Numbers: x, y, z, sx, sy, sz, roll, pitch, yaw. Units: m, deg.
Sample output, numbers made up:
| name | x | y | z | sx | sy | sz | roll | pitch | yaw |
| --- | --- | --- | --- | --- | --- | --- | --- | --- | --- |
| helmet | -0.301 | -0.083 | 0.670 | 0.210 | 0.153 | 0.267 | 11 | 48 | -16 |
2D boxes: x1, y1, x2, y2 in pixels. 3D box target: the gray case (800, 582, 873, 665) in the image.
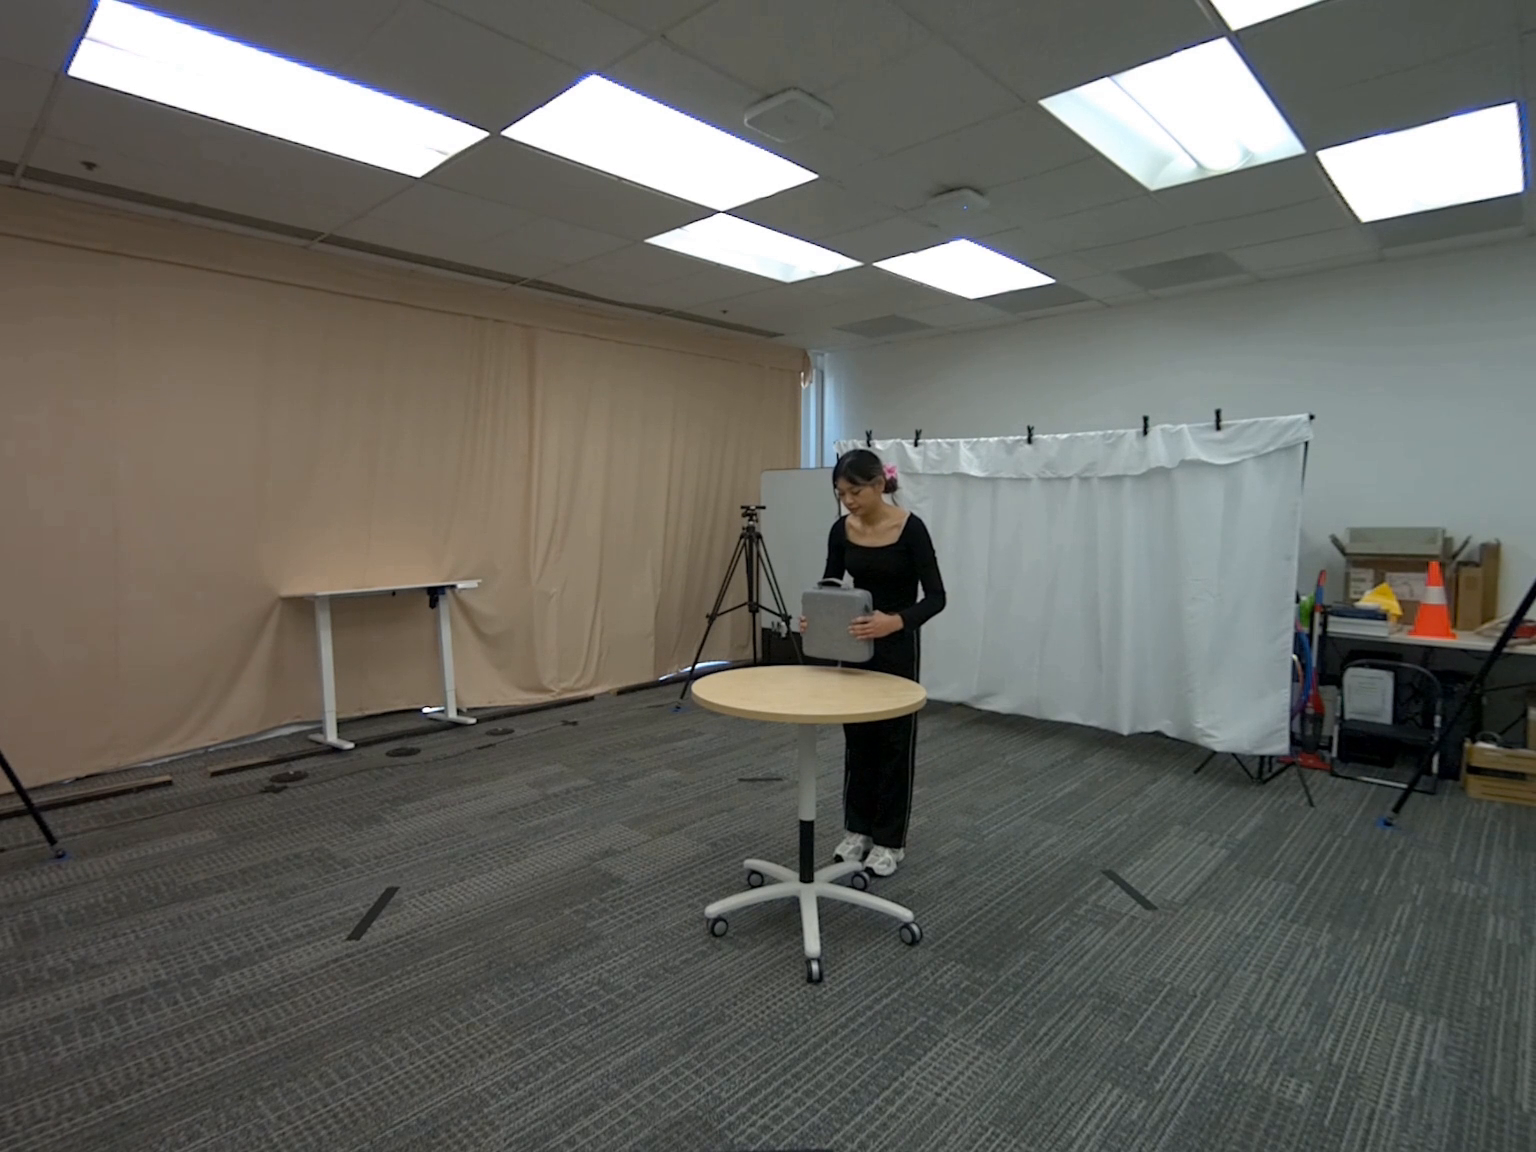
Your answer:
| name | x | y | z | sx | sy | sz | roll | pitch | yaw |
| --- | --- | --- | --- | --- | --- | --- | --- | --- | --- |
| gray case | 0.248 | 0.166 | 3.029 | 0.265 | 0.260 | 0.101 | 1 | 7 | 37 |
